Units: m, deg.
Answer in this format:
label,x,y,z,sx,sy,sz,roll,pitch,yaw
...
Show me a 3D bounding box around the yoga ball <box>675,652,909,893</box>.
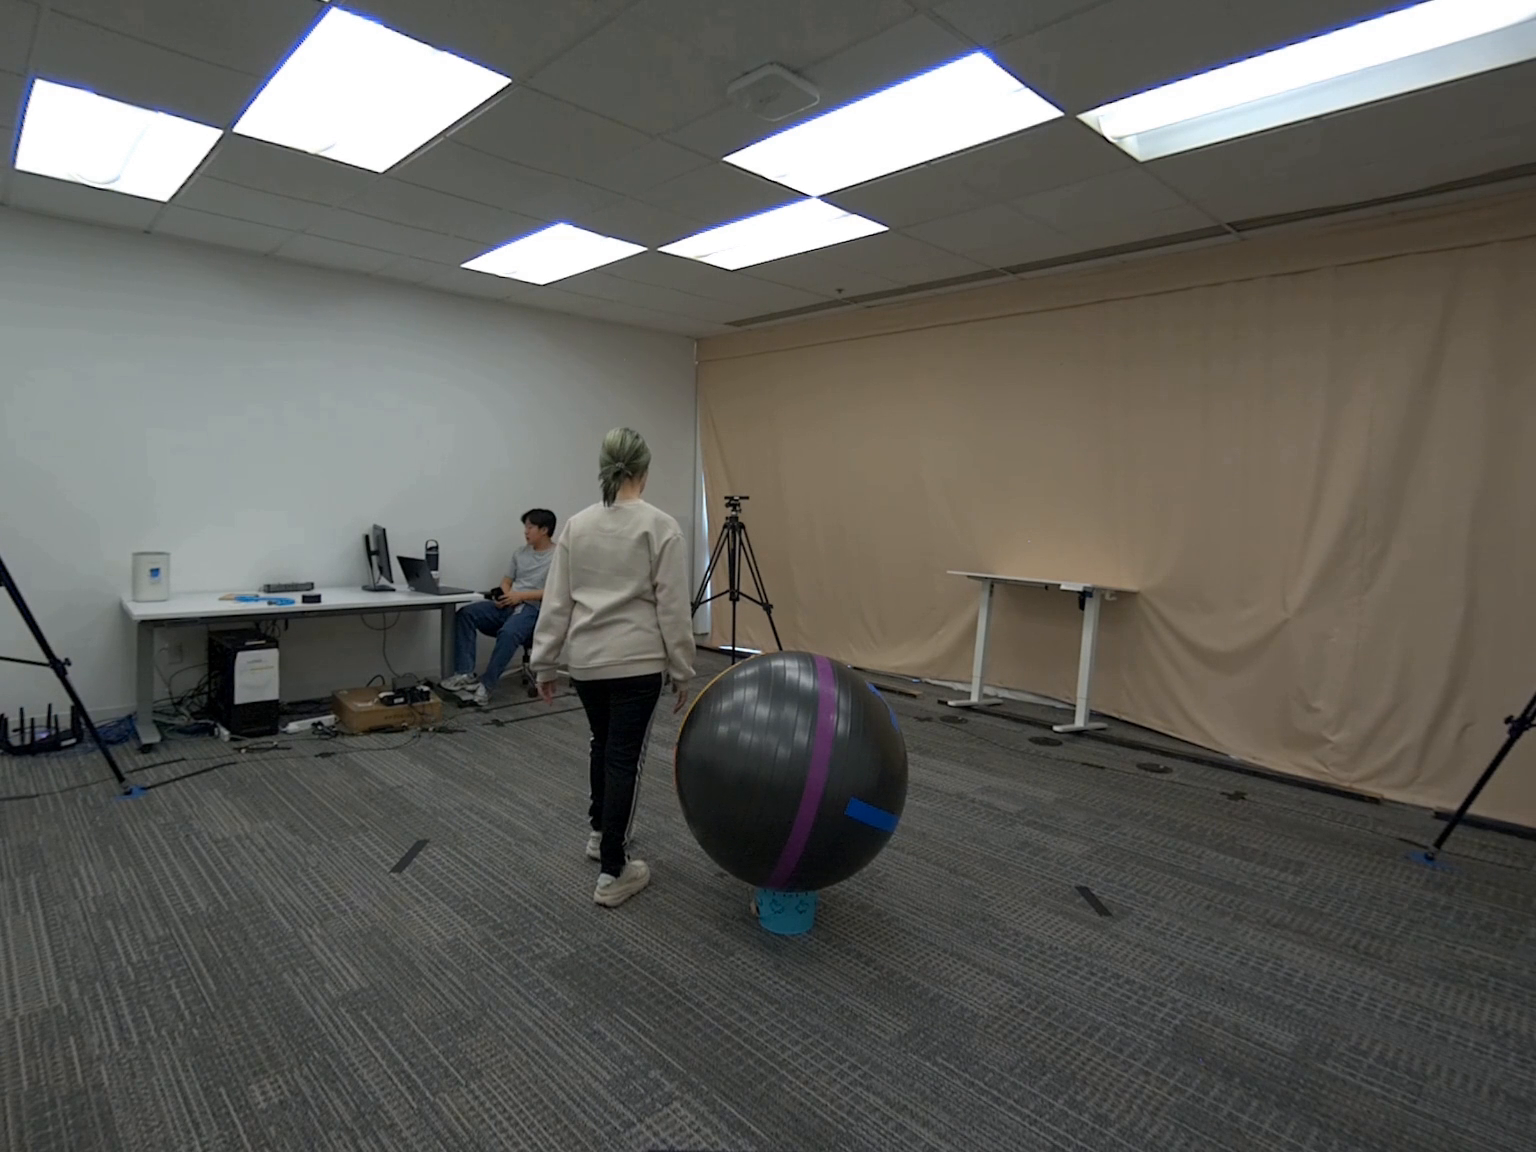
label,x,y,z,sx,sy,sz,roll,pitch,yaw
yoga ball,0.077,0.639,2.745,0.757,0.756,0.761,1,4,-1
